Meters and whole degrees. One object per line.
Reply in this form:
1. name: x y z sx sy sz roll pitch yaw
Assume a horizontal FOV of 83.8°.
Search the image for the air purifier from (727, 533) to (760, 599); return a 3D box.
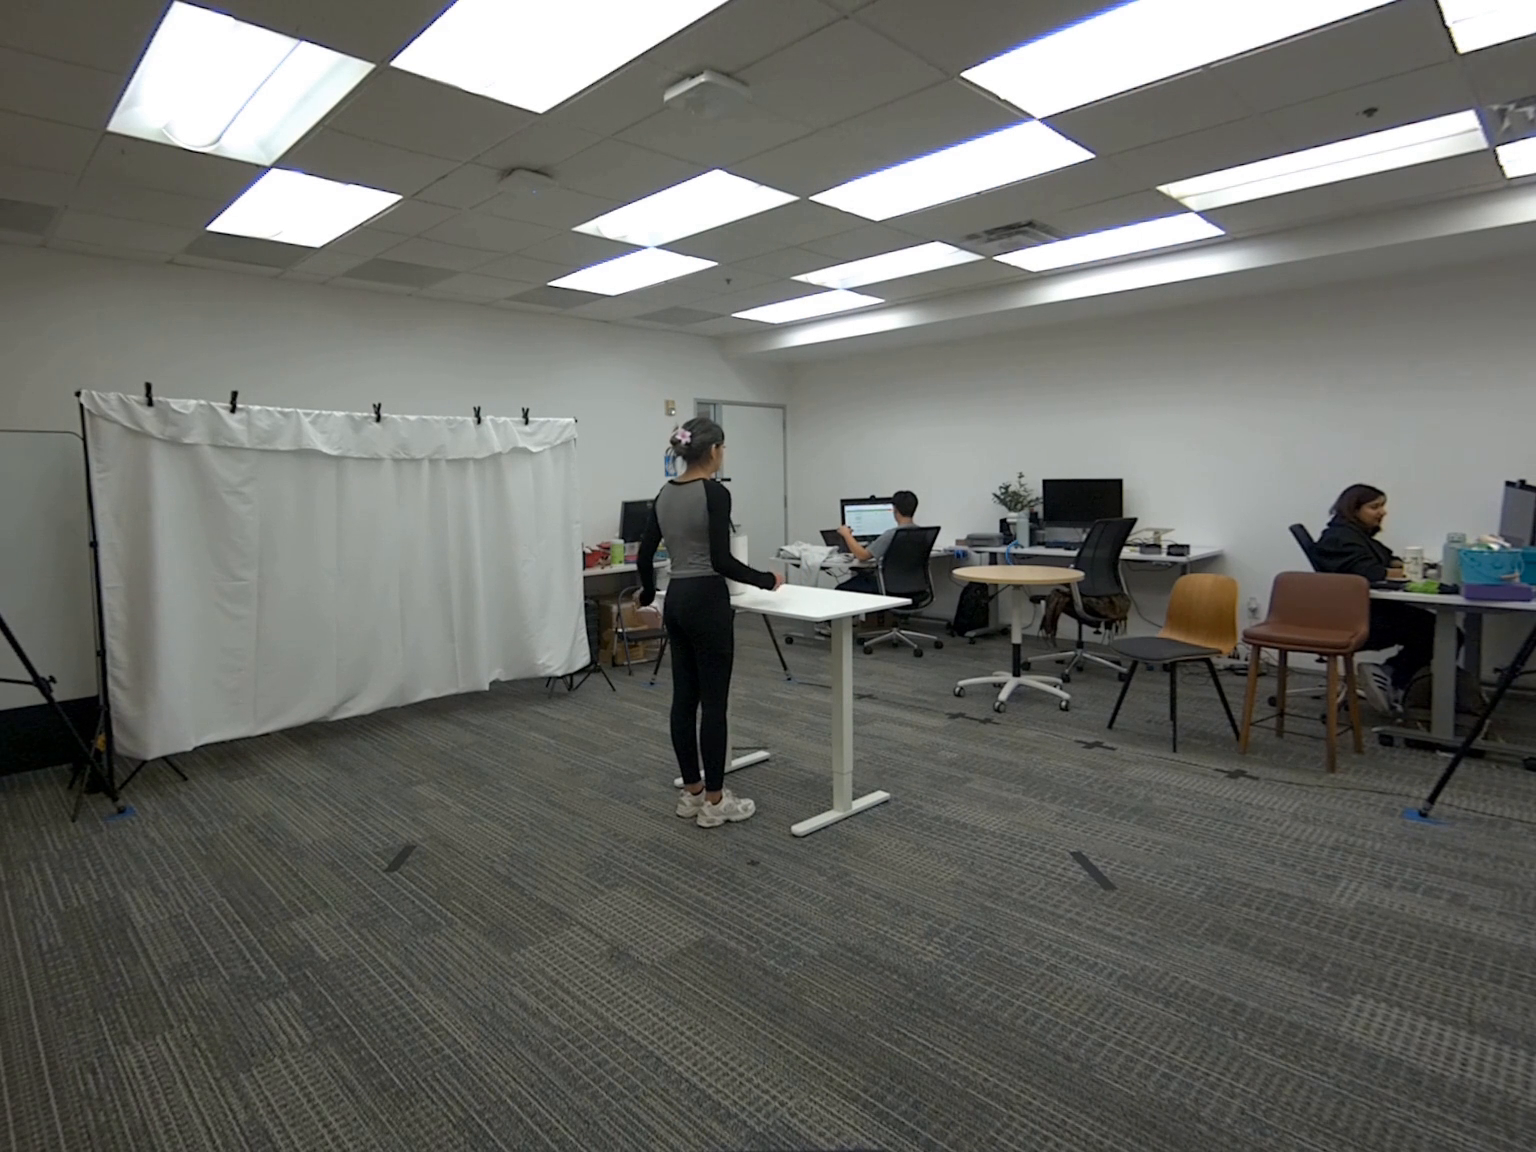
1. air purifier: -0.181 -0.055 3.837 0.174 0.264 0.169 1 5 16
